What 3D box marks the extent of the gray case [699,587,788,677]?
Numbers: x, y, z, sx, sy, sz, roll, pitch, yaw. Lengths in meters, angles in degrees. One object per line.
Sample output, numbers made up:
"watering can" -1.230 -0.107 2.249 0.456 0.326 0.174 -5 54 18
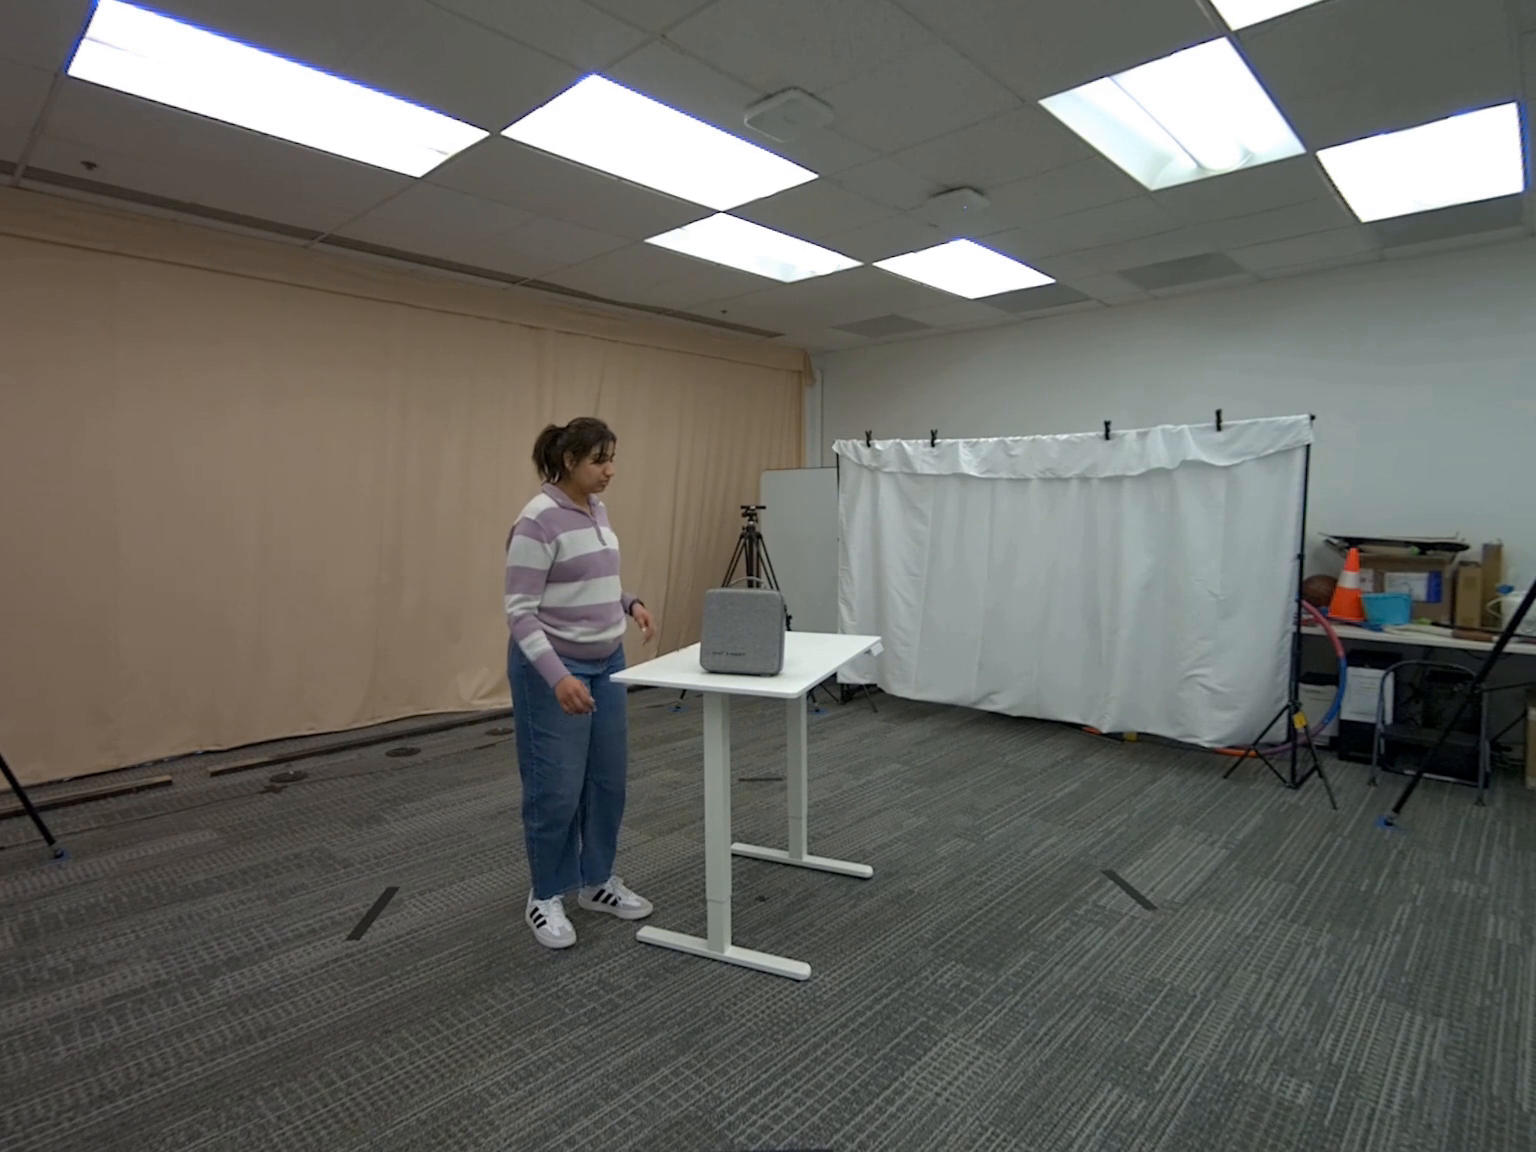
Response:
"gray case" -0.072 0.167 2.580 0.262 0.262 0.102 1 -8 17
